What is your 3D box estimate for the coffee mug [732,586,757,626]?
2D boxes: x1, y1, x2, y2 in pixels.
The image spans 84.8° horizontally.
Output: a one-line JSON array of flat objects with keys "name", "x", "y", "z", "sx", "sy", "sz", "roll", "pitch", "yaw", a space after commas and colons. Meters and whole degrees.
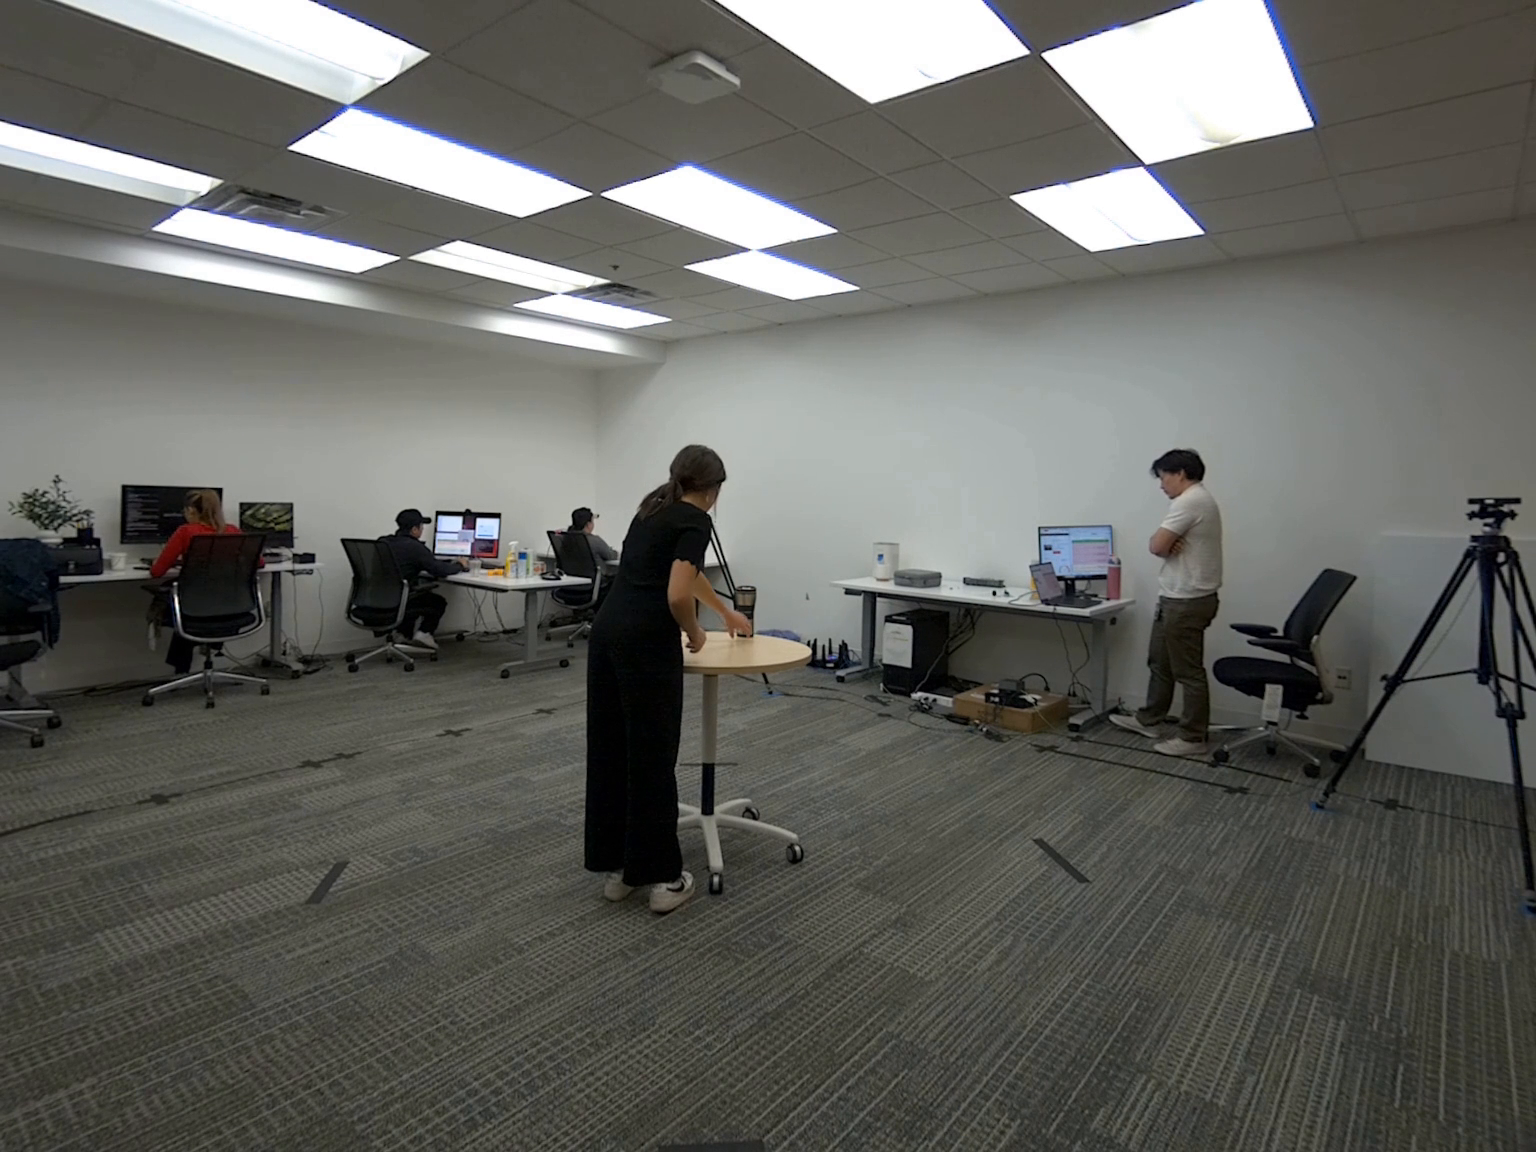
[{"name": "coffee mug", "x": -0.106, "y": 0.146, "z": 3.555, "sx": 0.089, "sy": 0.202, "sz": 0.121, "roll": -3, "pitch": 6, "yaw": 9}]
